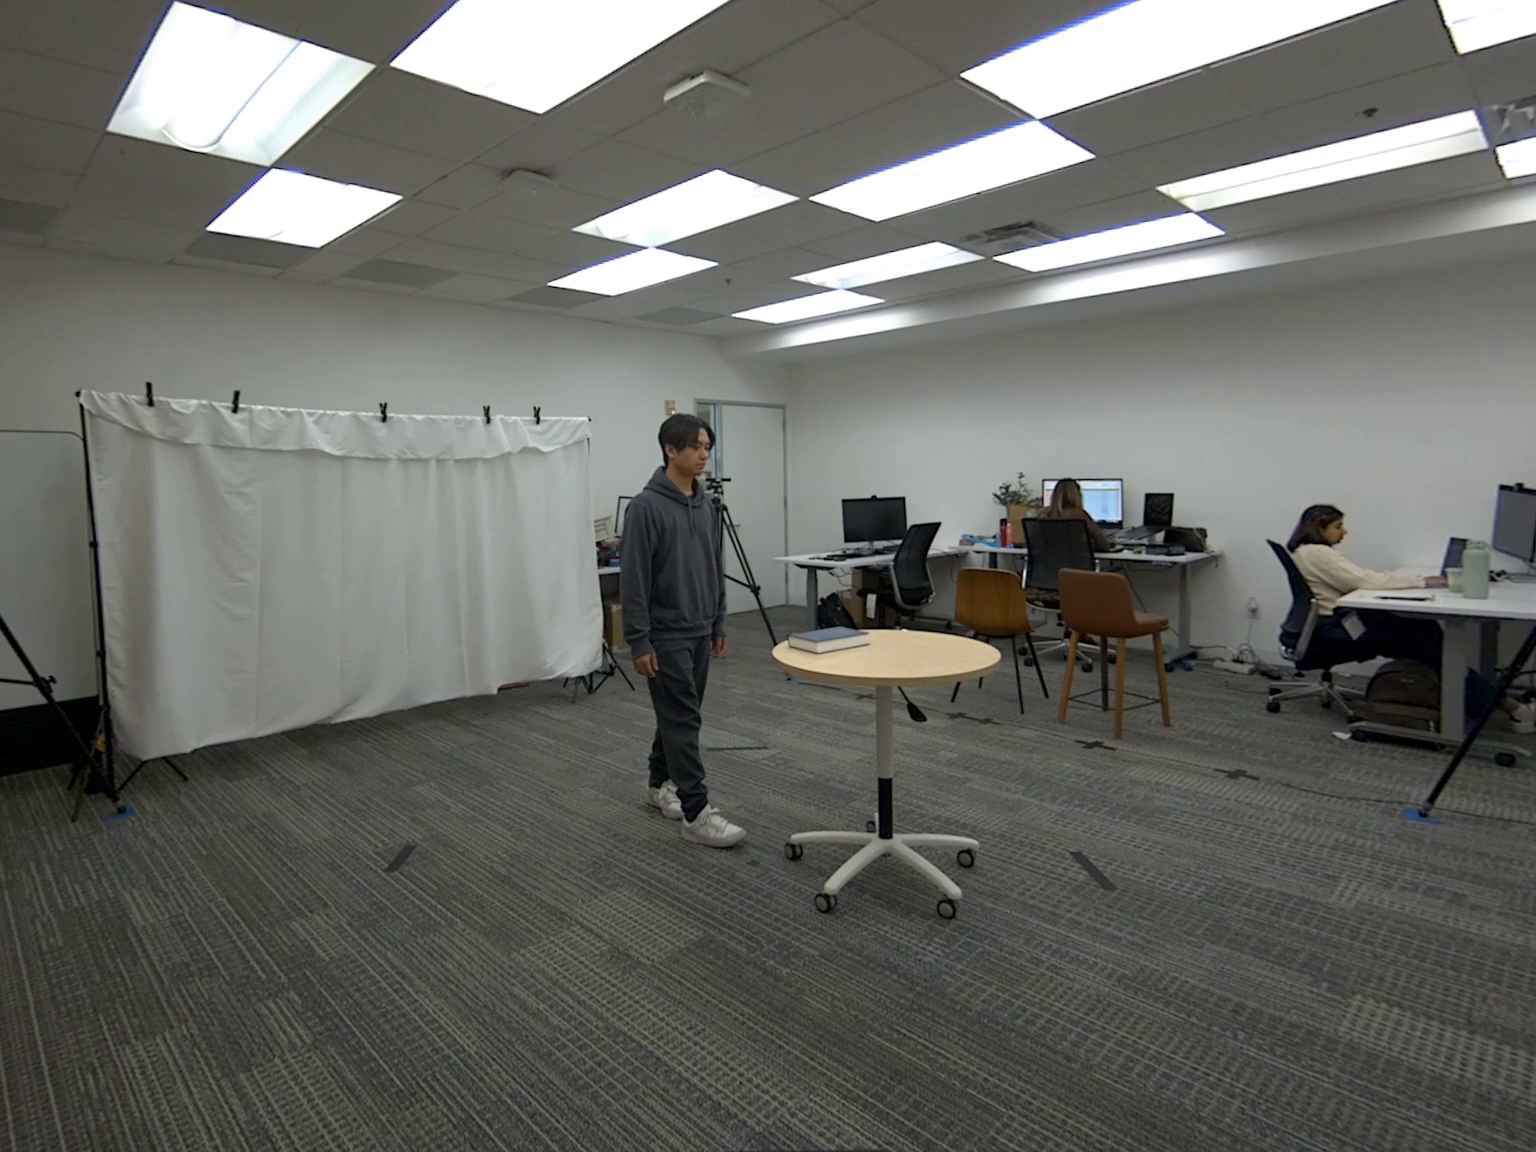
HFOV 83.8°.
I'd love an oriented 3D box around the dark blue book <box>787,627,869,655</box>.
[{"bbox_3d":[0.223,0.231,3.034,0.239,0.045,0.168,-6,8,-35],"label":"dark blue book"}]
